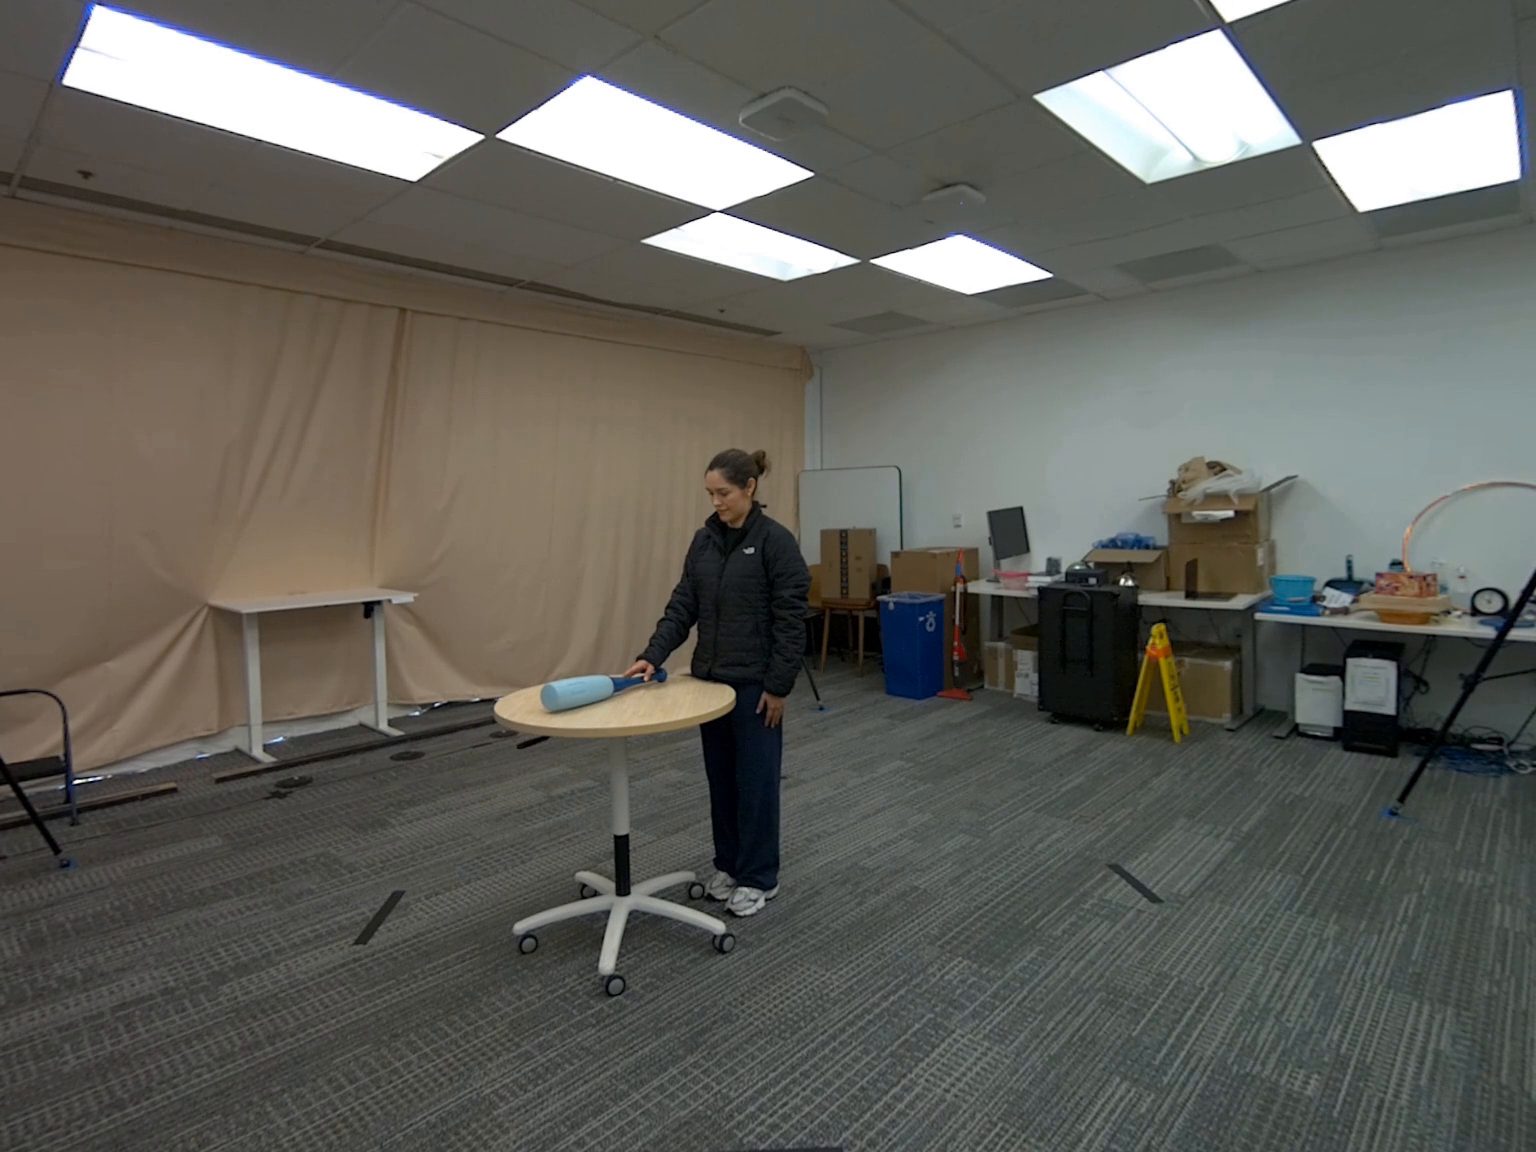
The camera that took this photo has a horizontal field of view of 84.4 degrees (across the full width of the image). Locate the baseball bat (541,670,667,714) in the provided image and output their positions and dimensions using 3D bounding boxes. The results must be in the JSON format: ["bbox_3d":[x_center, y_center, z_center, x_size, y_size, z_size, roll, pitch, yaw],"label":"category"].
[{"bbox_3d":[-0.491,0.353,2.717,0.092,0.089,0.527,2,3,32],"label":"baseball bat"}]
